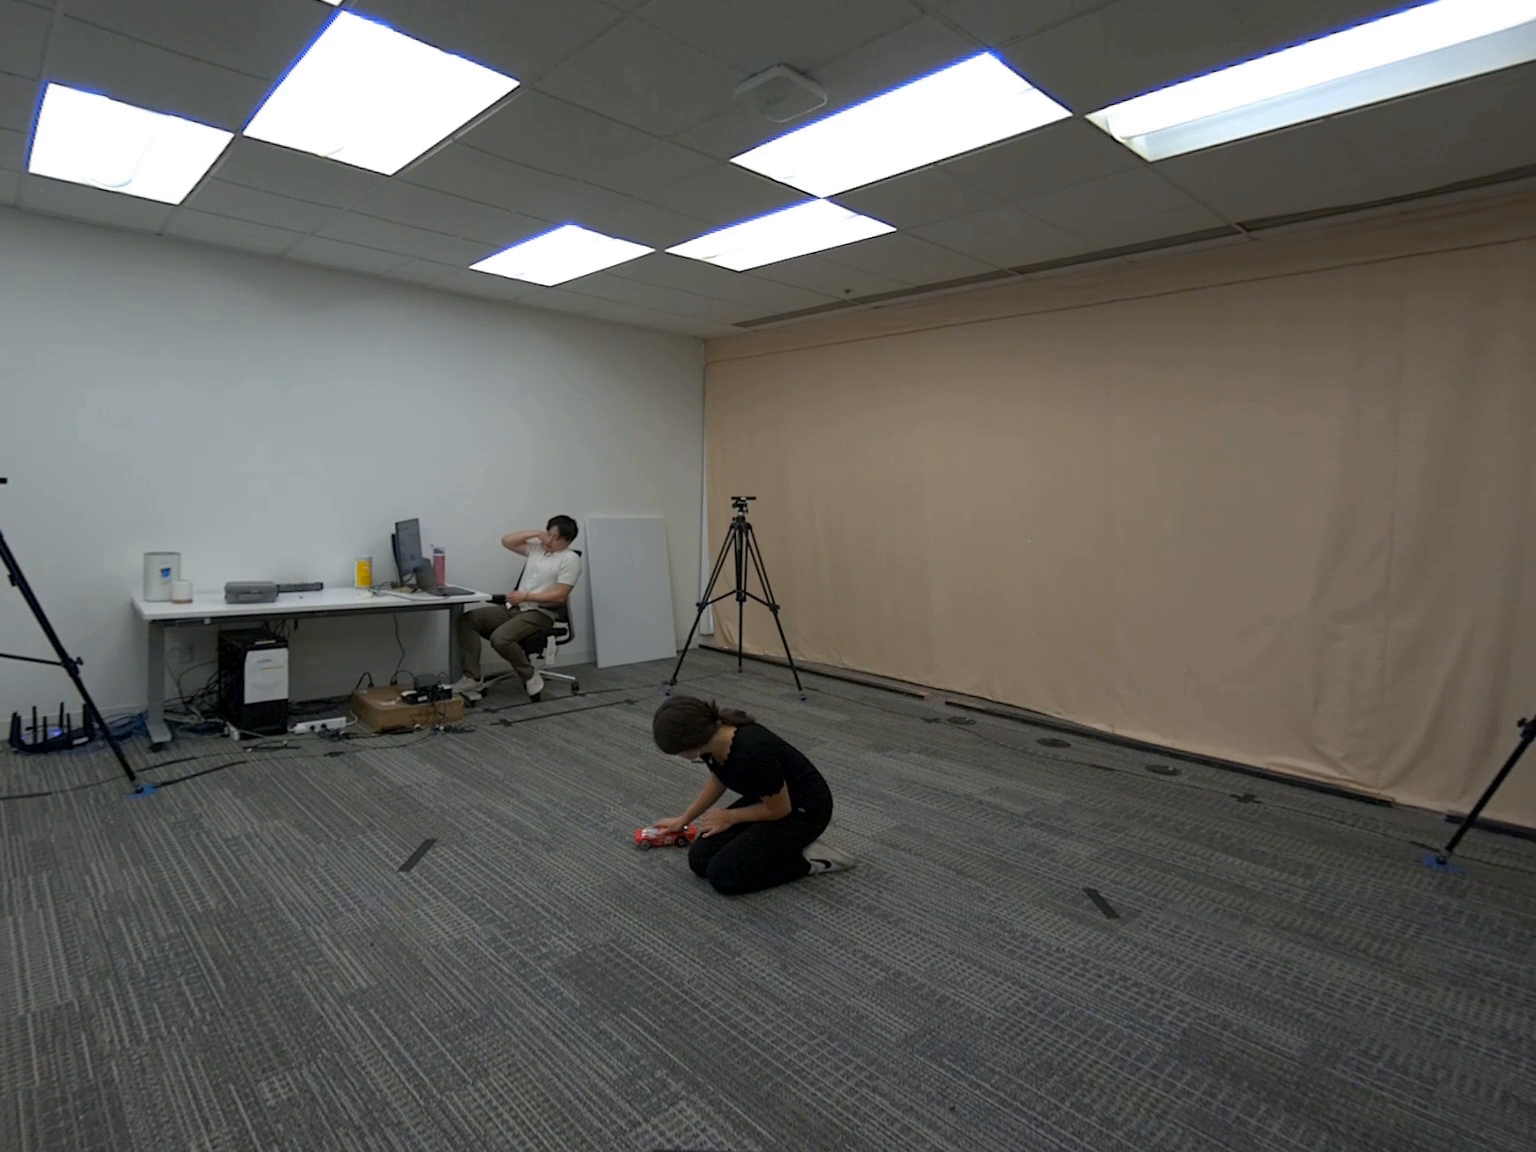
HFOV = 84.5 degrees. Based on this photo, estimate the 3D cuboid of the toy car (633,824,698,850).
[{"bbox_3d":[-0.410,1.042,3.389,0.252,0.083,0.132,-11,6,-12],"label":"toy car"}]
